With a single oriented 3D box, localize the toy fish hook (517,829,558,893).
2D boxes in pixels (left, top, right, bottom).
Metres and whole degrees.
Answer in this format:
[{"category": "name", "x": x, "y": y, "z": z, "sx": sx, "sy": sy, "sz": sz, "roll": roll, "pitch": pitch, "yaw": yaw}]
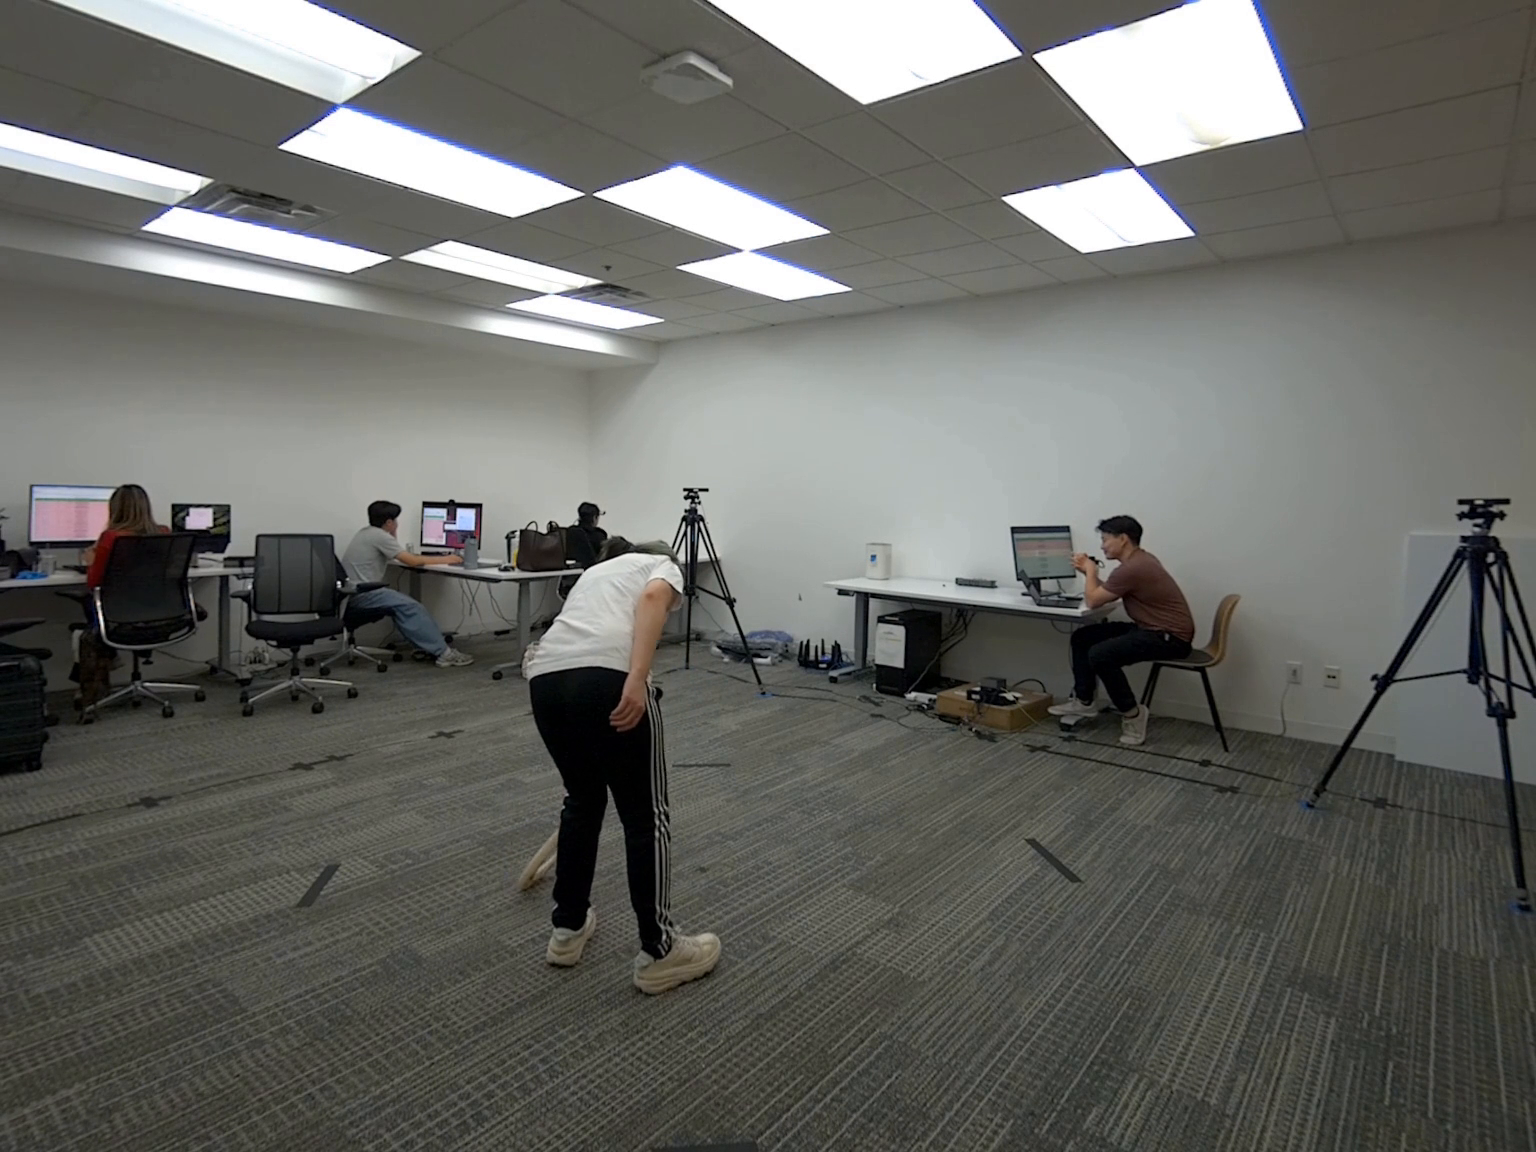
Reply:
[{"category": "toy fish hook", "x": -0.706, "y": 0.877, "z": 2.892, "sx": 0.049, "sy": 0.505, "sz": 0.221, "roll": 40, "pitch": 21, "yaw": 11}]
